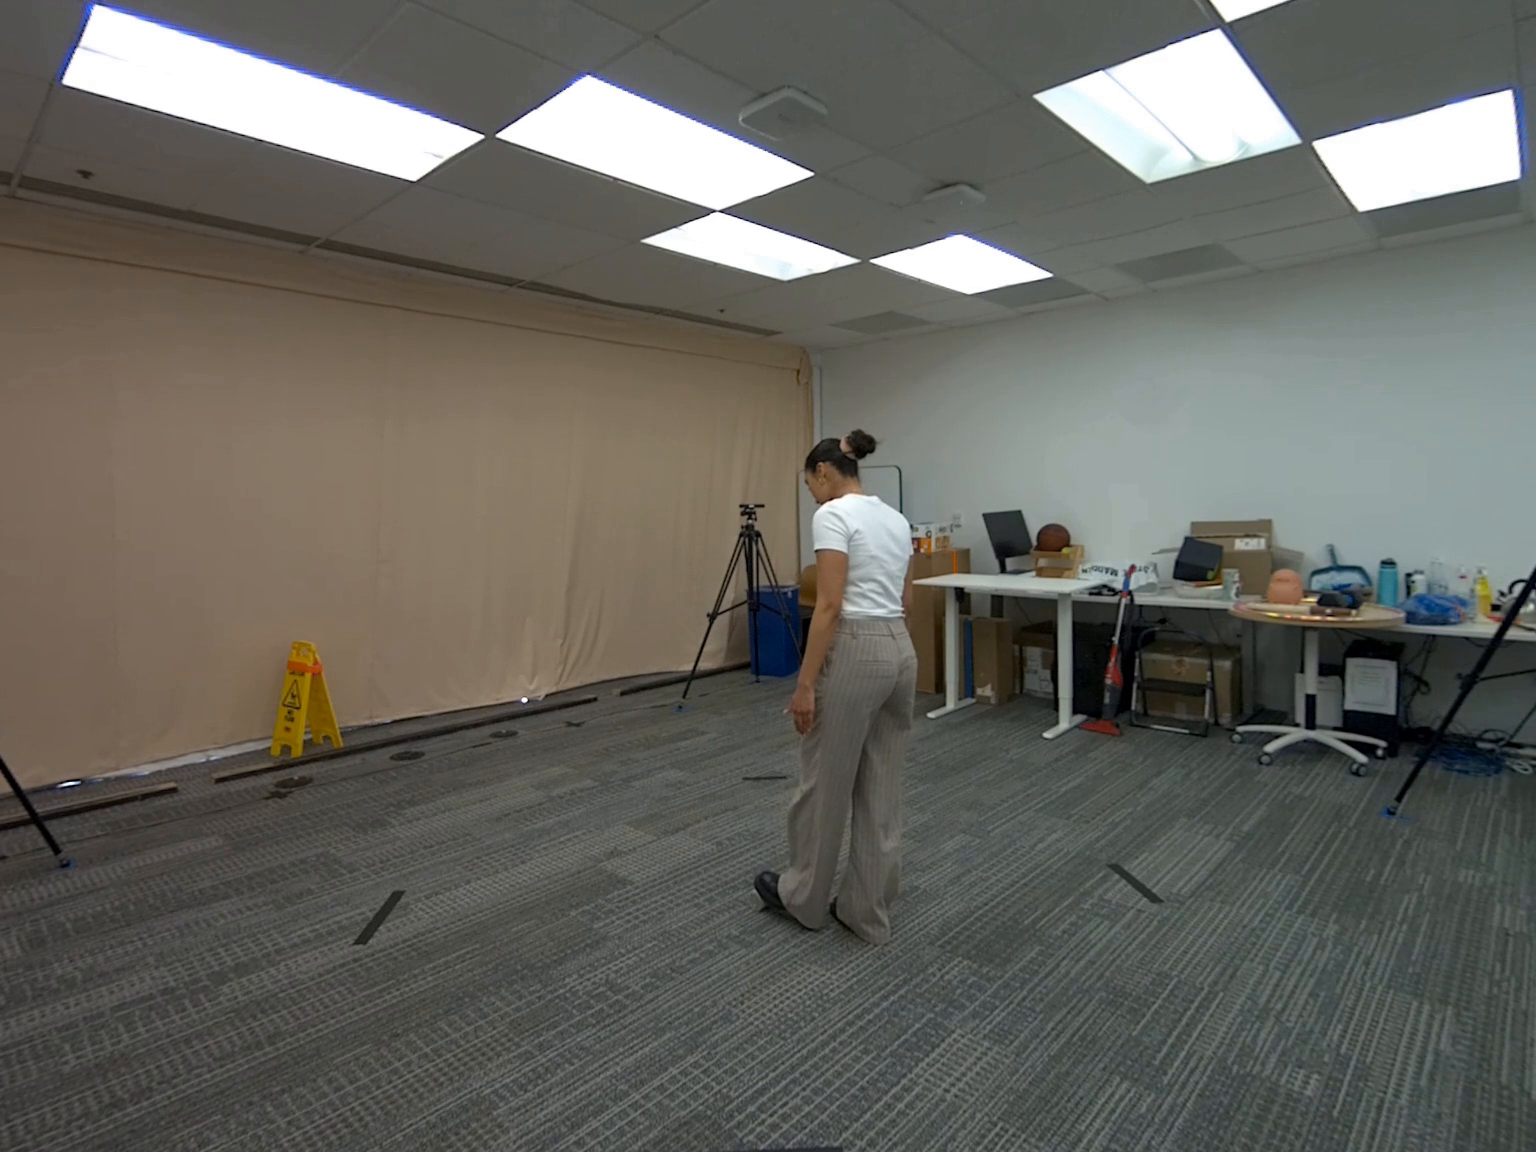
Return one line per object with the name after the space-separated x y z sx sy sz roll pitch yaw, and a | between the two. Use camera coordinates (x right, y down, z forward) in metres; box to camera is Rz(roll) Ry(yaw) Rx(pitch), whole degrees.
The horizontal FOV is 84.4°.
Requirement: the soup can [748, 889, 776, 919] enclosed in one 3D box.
-0.003 1.114 2.922 0.069 0.067 0.118 3 7 45 | soup can
